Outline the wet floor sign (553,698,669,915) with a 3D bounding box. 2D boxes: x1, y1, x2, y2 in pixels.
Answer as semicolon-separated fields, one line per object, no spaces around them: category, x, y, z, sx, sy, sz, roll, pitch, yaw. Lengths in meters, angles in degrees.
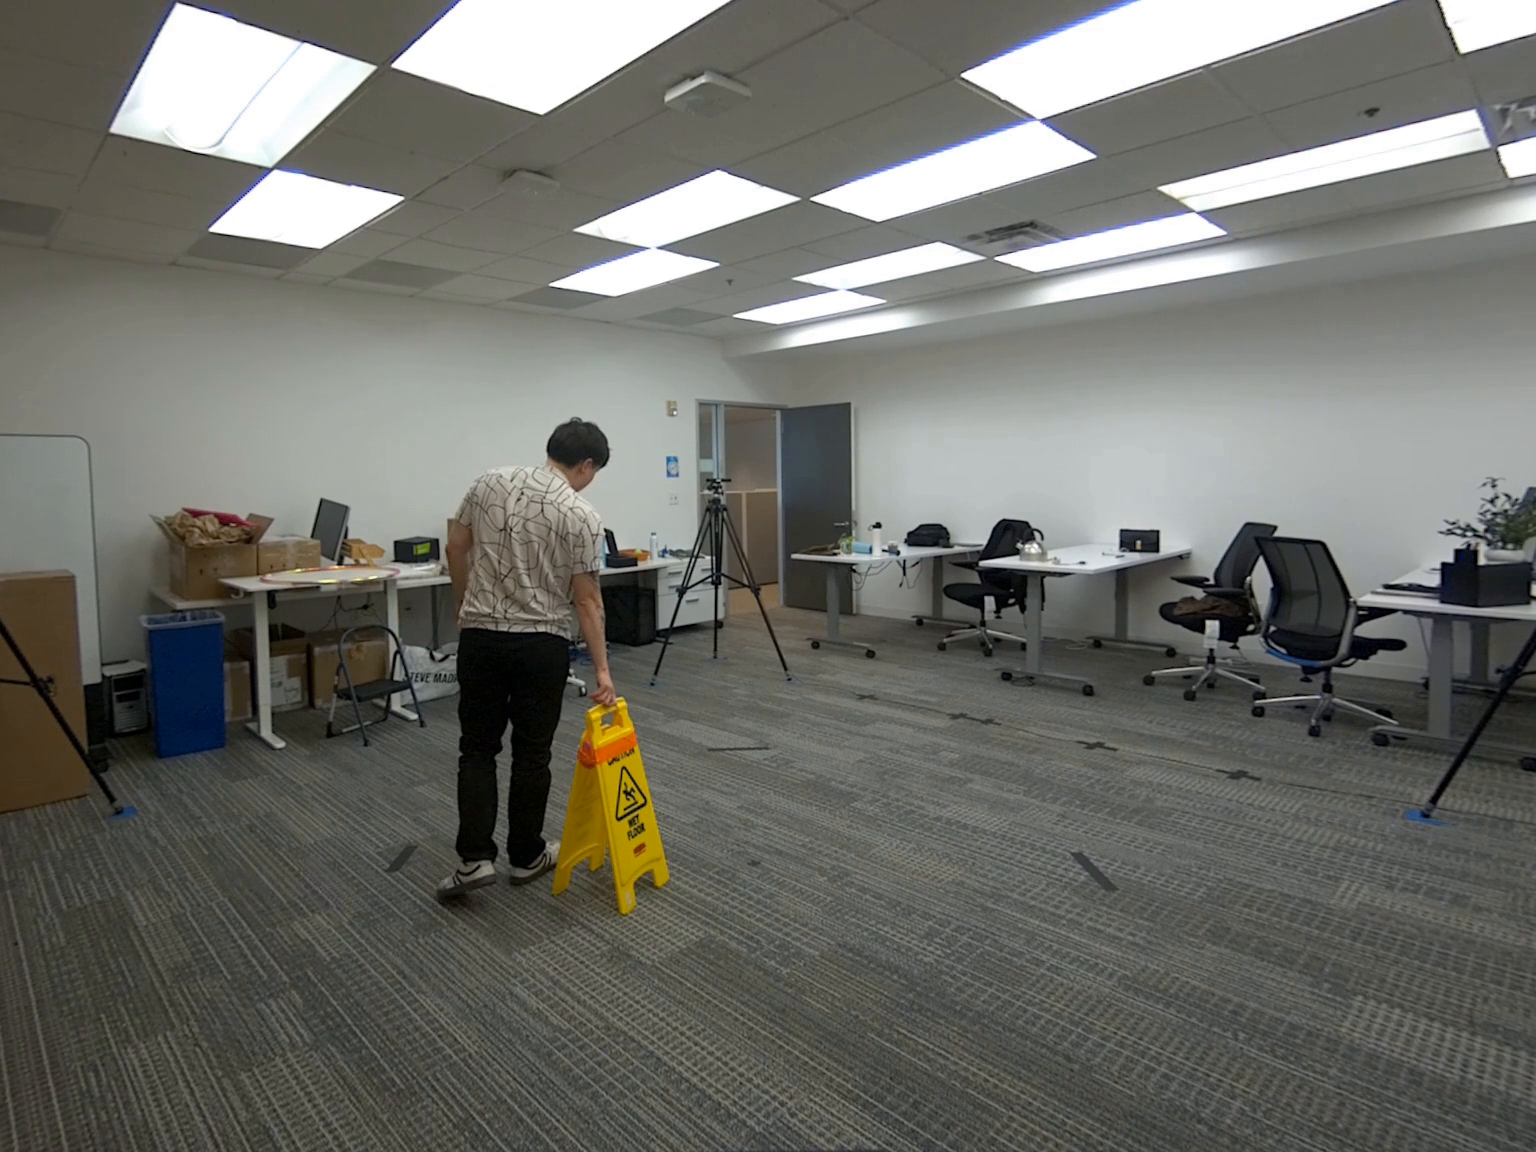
wet floor sign;-0.537;0.750;2.914;0.297;0.643;0.276;3;6;28
